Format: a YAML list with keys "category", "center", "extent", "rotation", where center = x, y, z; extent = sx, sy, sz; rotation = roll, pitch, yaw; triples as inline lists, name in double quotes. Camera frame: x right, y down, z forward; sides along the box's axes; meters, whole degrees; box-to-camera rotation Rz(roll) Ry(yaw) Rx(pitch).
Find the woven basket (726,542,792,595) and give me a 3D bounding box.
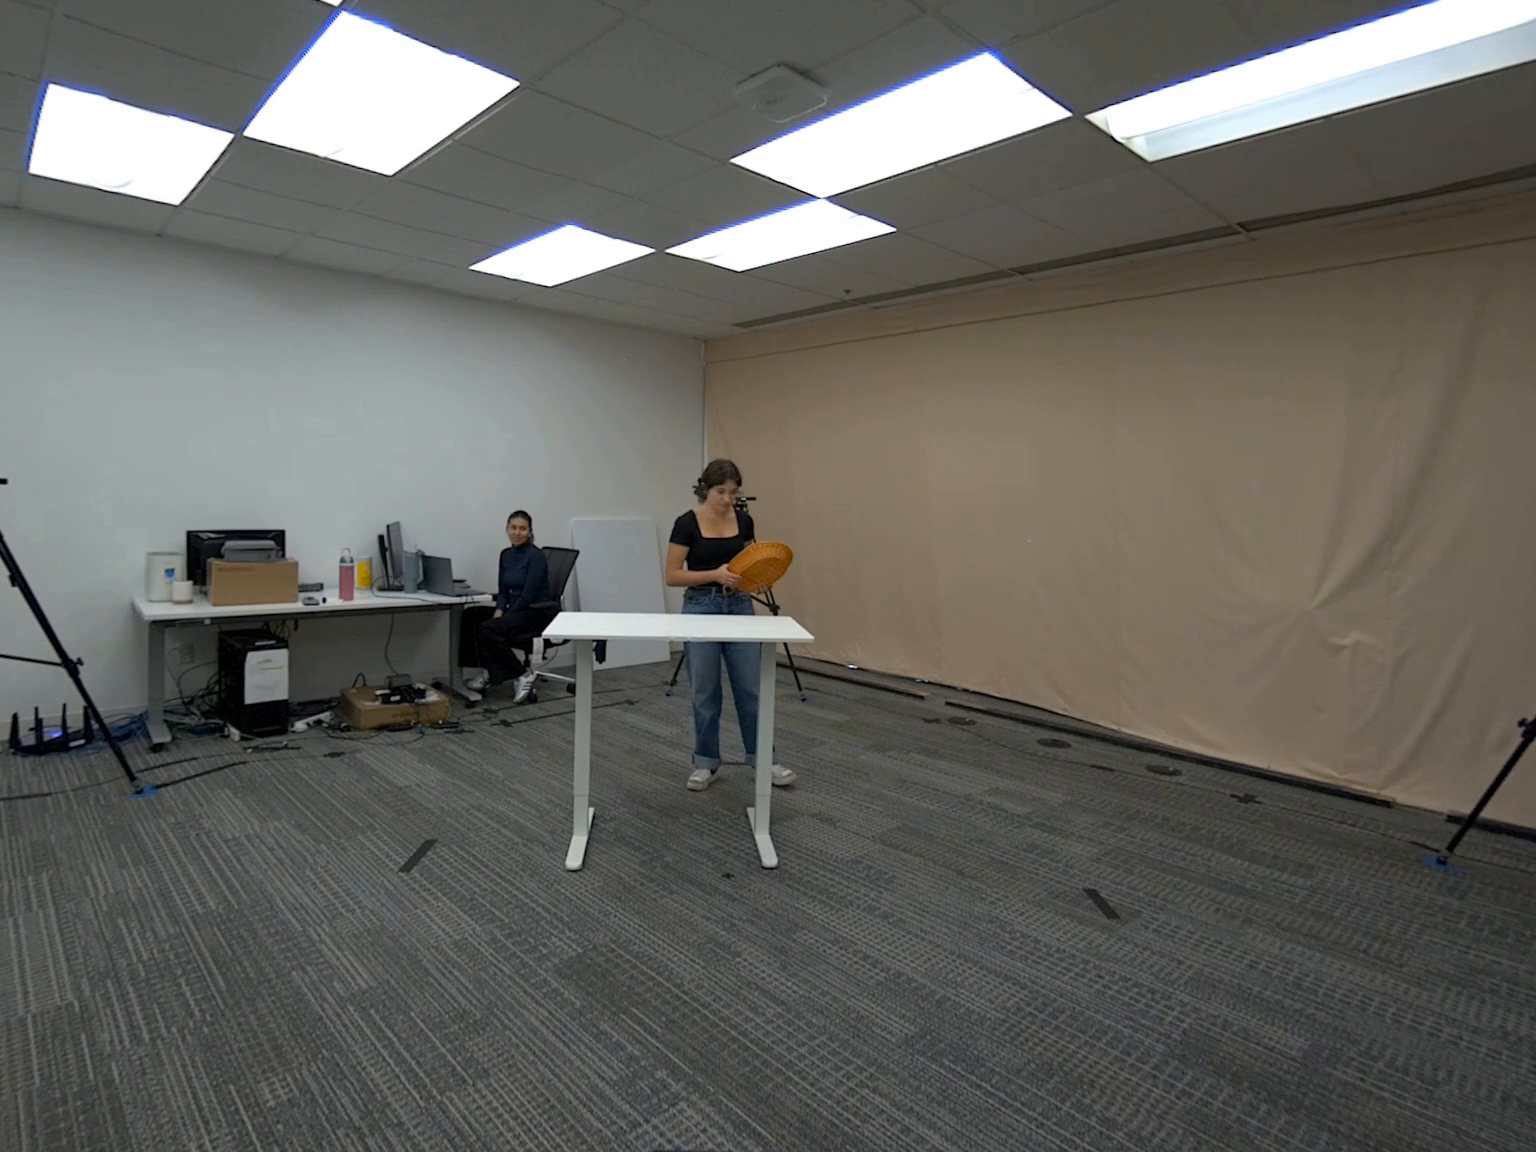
- category: "woven basket"
  center: [-0.040, -0.022, 3.884]
  extent: [0.246, 0.075, 0.351]
  rotation: [21, -46, -29]
